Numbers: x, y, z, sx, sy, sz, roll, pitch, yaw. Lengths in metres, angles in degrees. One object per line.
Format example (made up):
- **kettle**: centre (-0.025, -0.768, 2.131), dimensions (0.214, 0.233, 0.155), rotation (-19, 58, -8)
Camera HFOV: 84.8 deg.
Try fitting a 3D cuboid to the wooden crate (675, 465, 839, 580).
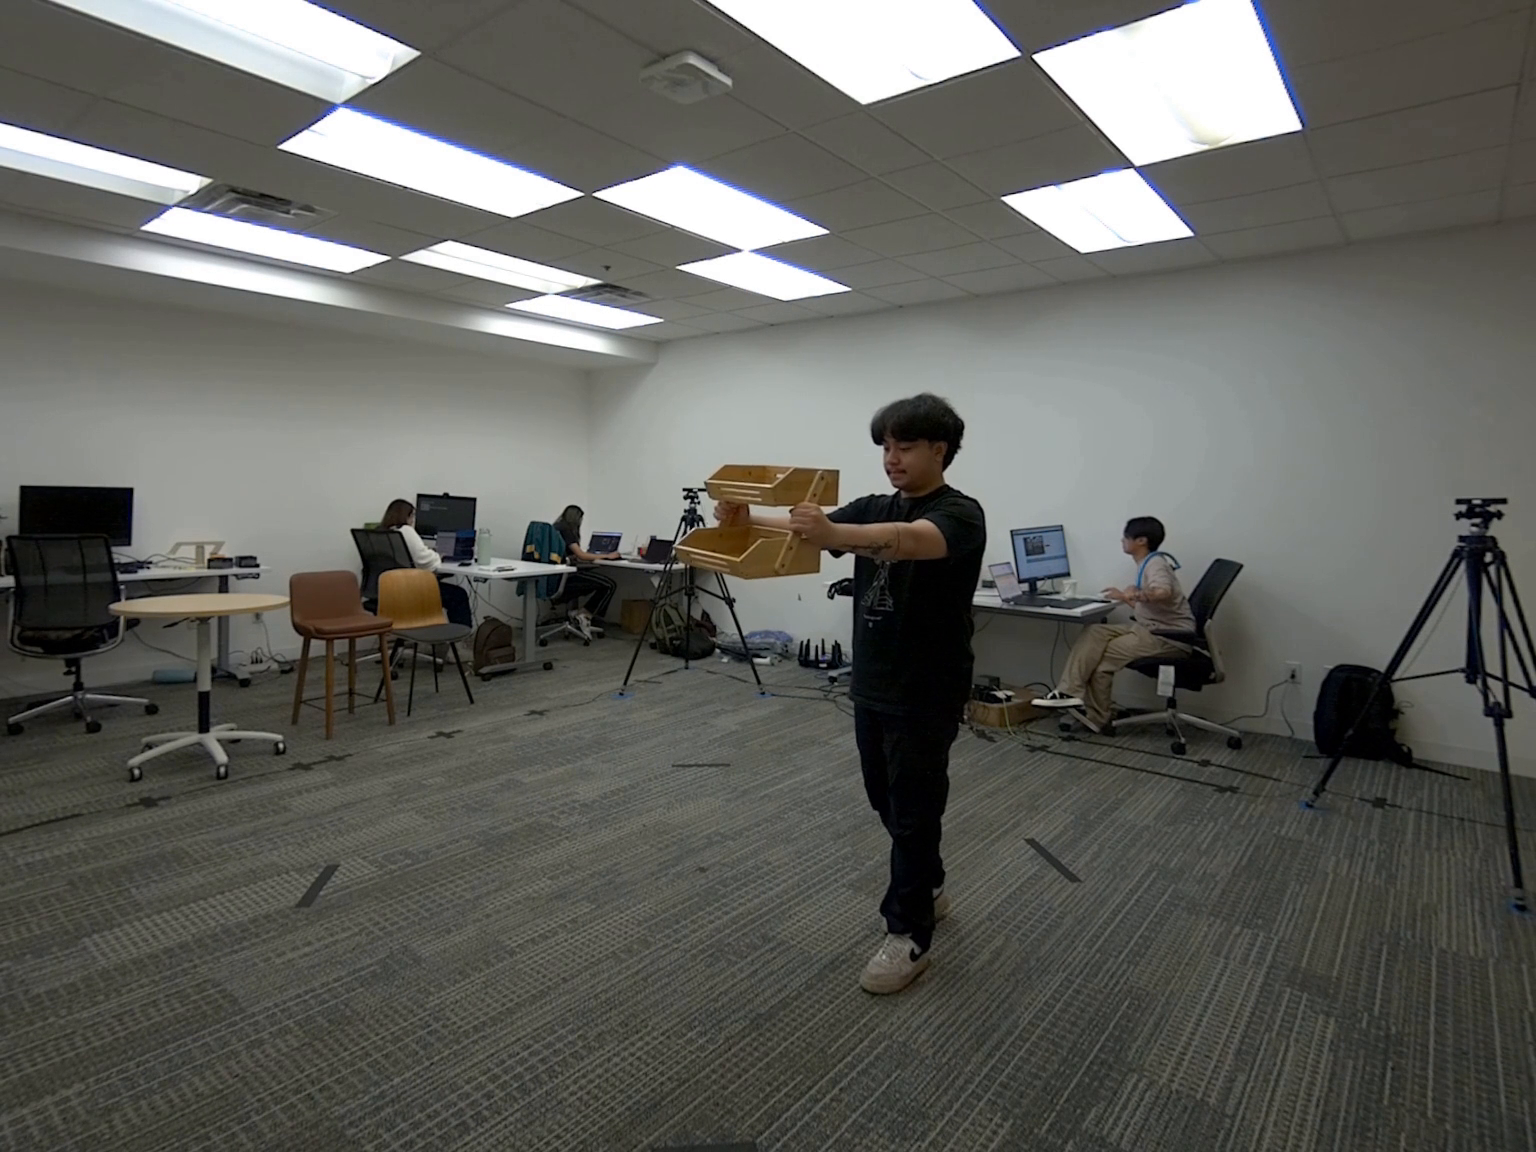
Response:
- **wooden crate**: centre (-0.044, -0.153, 2.177), dimensions (0.293, 0.271, 0.336), rotation (-3, 9, -36)
